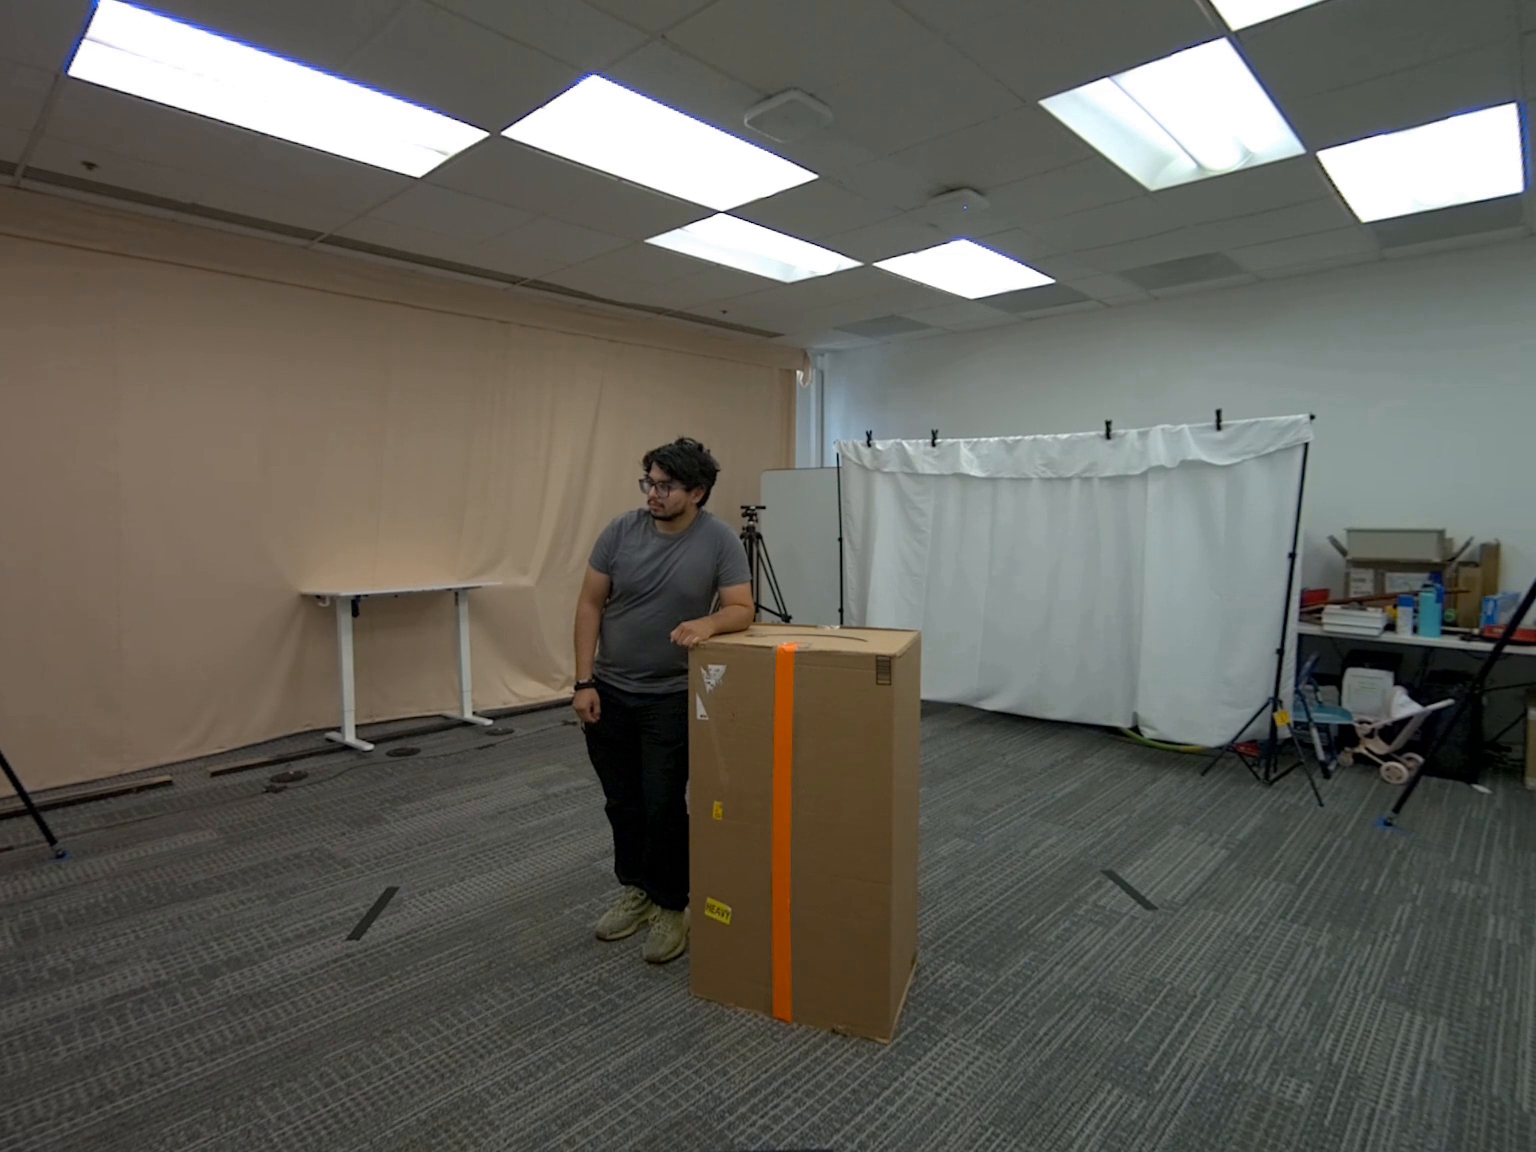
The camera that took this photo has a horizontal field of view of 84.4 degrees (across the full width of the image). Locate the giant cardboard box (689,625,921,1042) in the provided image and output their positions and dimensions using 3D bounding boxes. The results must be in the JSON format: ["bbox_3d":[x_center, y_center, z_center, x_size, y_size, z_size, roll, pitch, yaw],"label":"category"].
[{"bbox_3d":[0.125,0.682,2.441,0.591,1.024,0.417,1,3,23],"label":"giant cardboard box"}]
